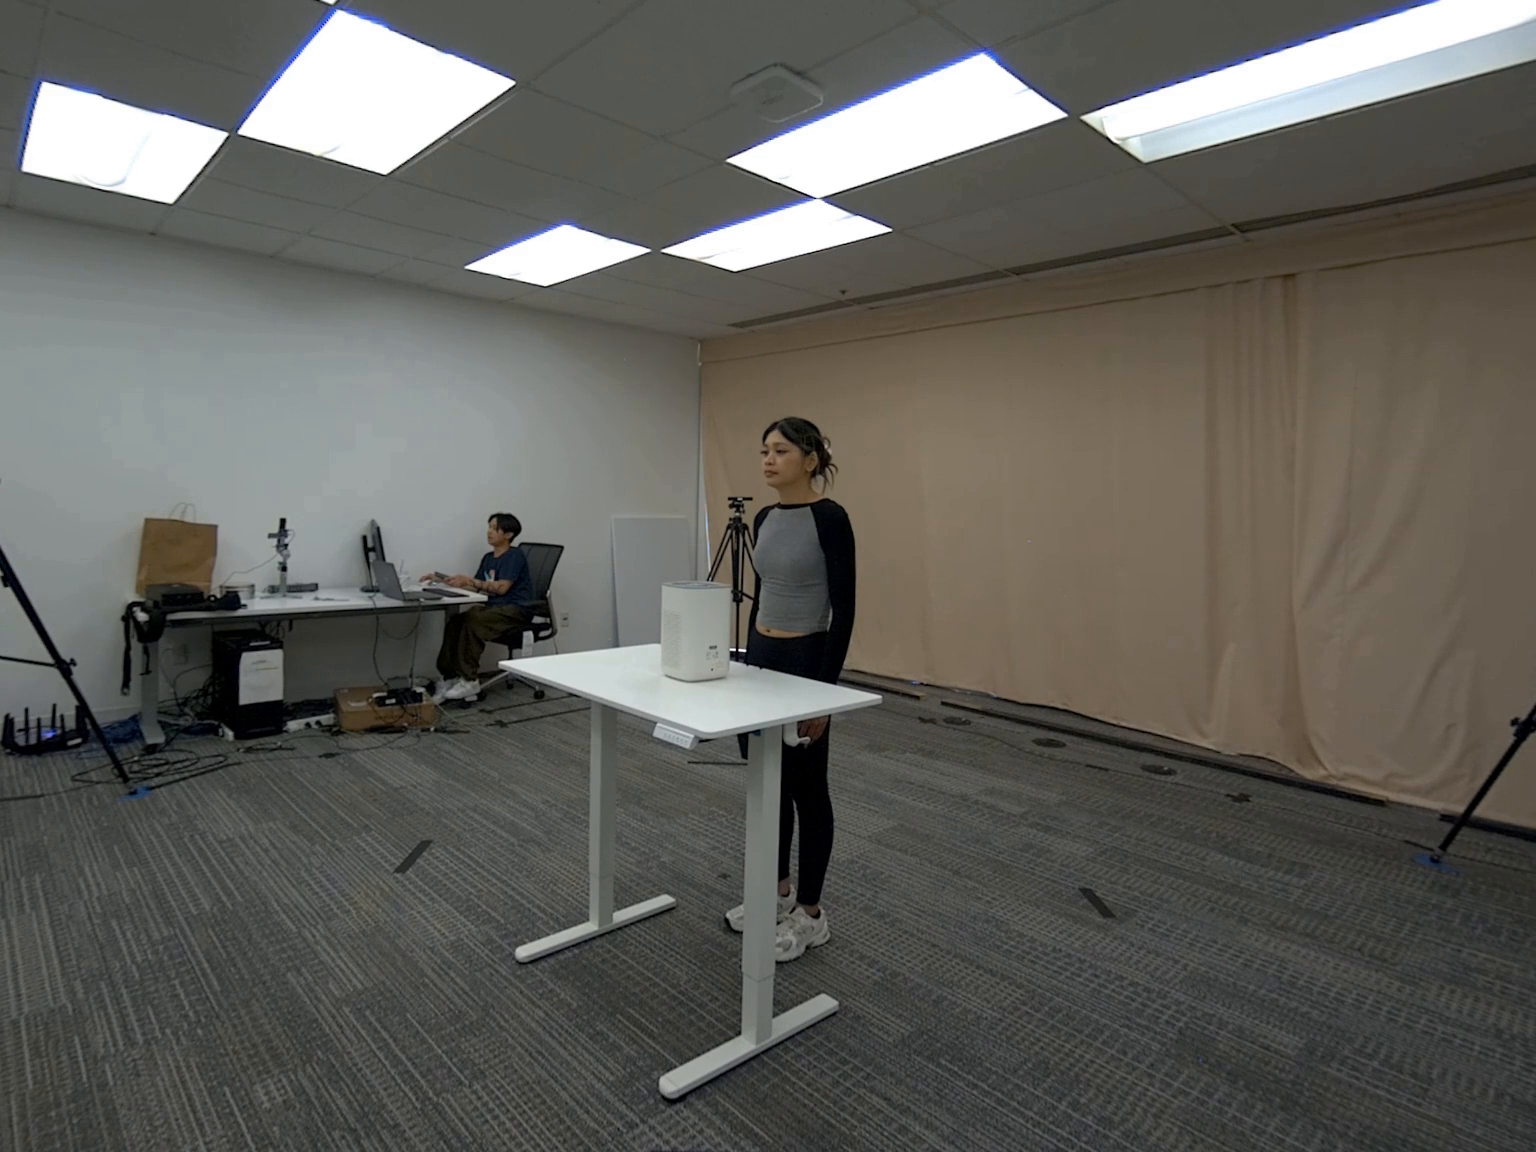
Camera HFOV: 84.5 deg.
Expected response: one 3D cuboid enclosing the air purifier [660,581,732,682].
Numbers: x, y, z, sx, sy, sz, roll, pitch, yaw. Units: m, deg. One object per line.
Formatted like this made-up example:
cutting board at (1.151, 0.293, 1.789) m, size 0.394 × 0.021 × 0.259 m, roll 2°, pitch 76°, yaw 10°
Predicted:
air purifier at (-0.206, 0.153, 2.399) m, size 0.167 × 0.265 × 0.176 m, roll 0°, pitch 3°, yaw -40°
